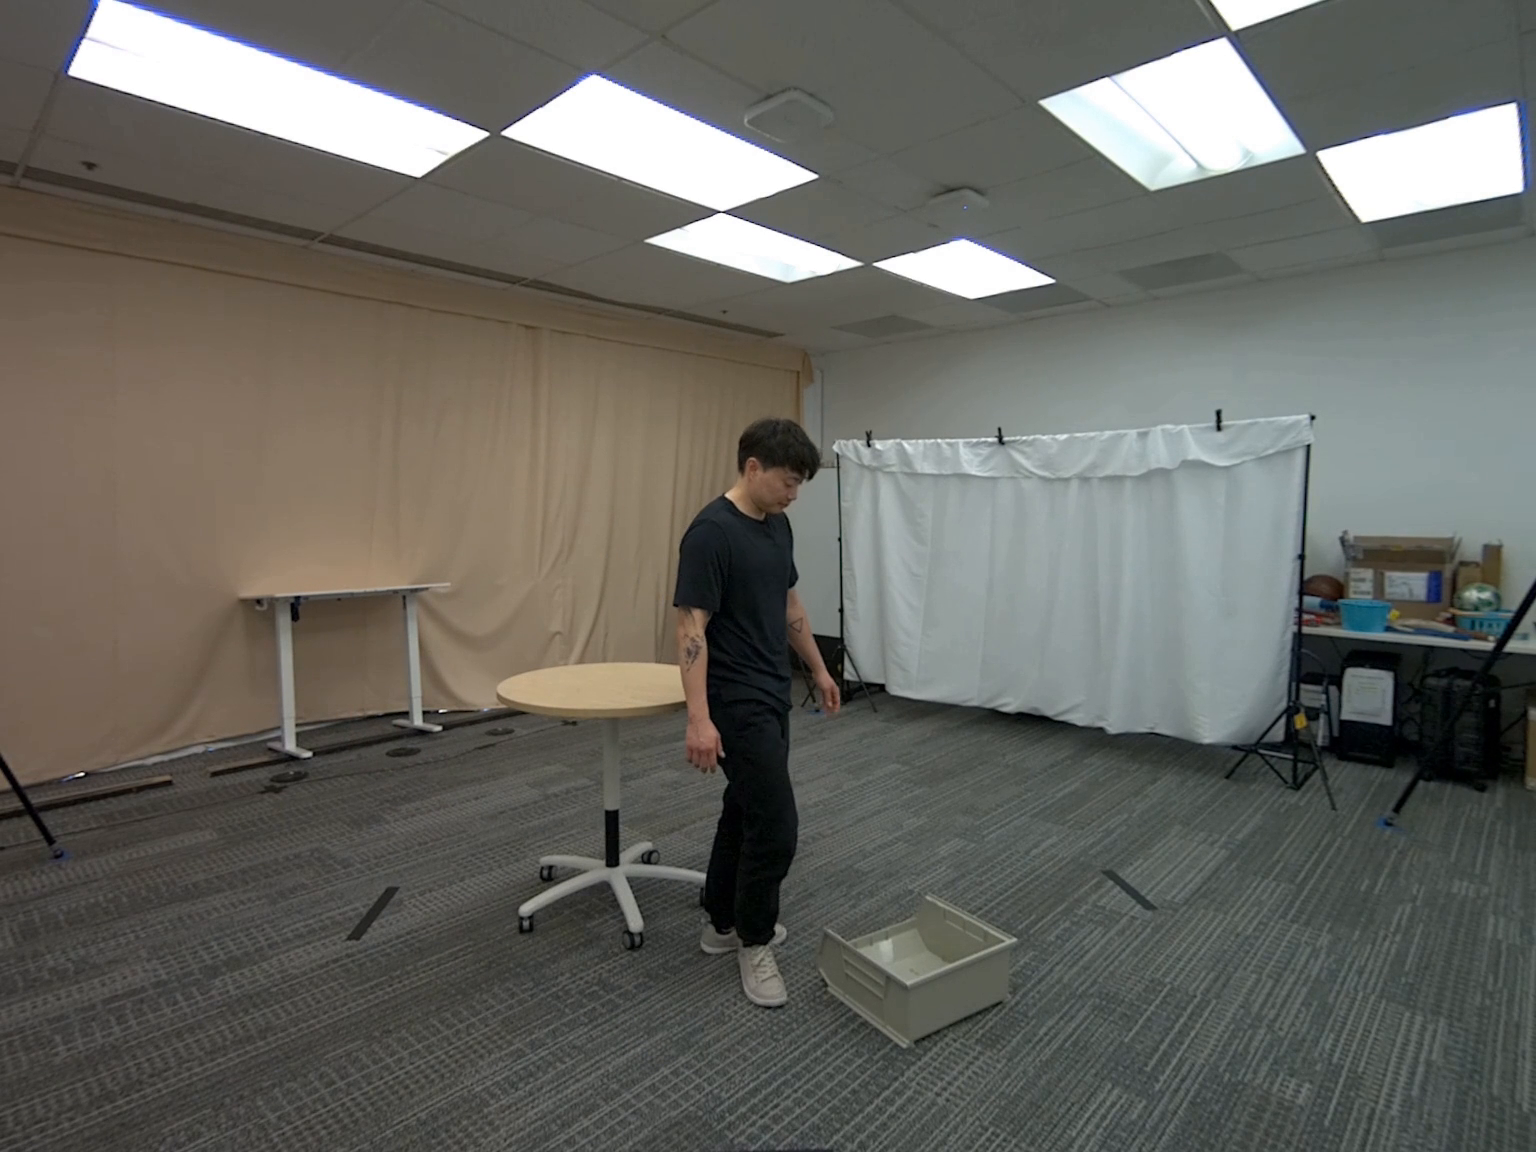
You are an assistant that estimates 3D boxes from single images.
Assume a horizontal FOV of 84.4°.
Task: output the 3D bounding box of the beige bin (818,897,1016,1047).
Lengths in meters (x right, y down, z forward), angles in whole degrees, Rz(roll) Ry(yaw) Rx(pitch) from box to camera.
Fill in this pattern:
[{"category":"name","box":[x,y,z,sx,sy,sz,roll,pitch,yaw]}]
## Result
[{"category":"beige bin","box":[0.425,1.105,2.400,0.410,0.188,0.389,-3,6,-33]}]
